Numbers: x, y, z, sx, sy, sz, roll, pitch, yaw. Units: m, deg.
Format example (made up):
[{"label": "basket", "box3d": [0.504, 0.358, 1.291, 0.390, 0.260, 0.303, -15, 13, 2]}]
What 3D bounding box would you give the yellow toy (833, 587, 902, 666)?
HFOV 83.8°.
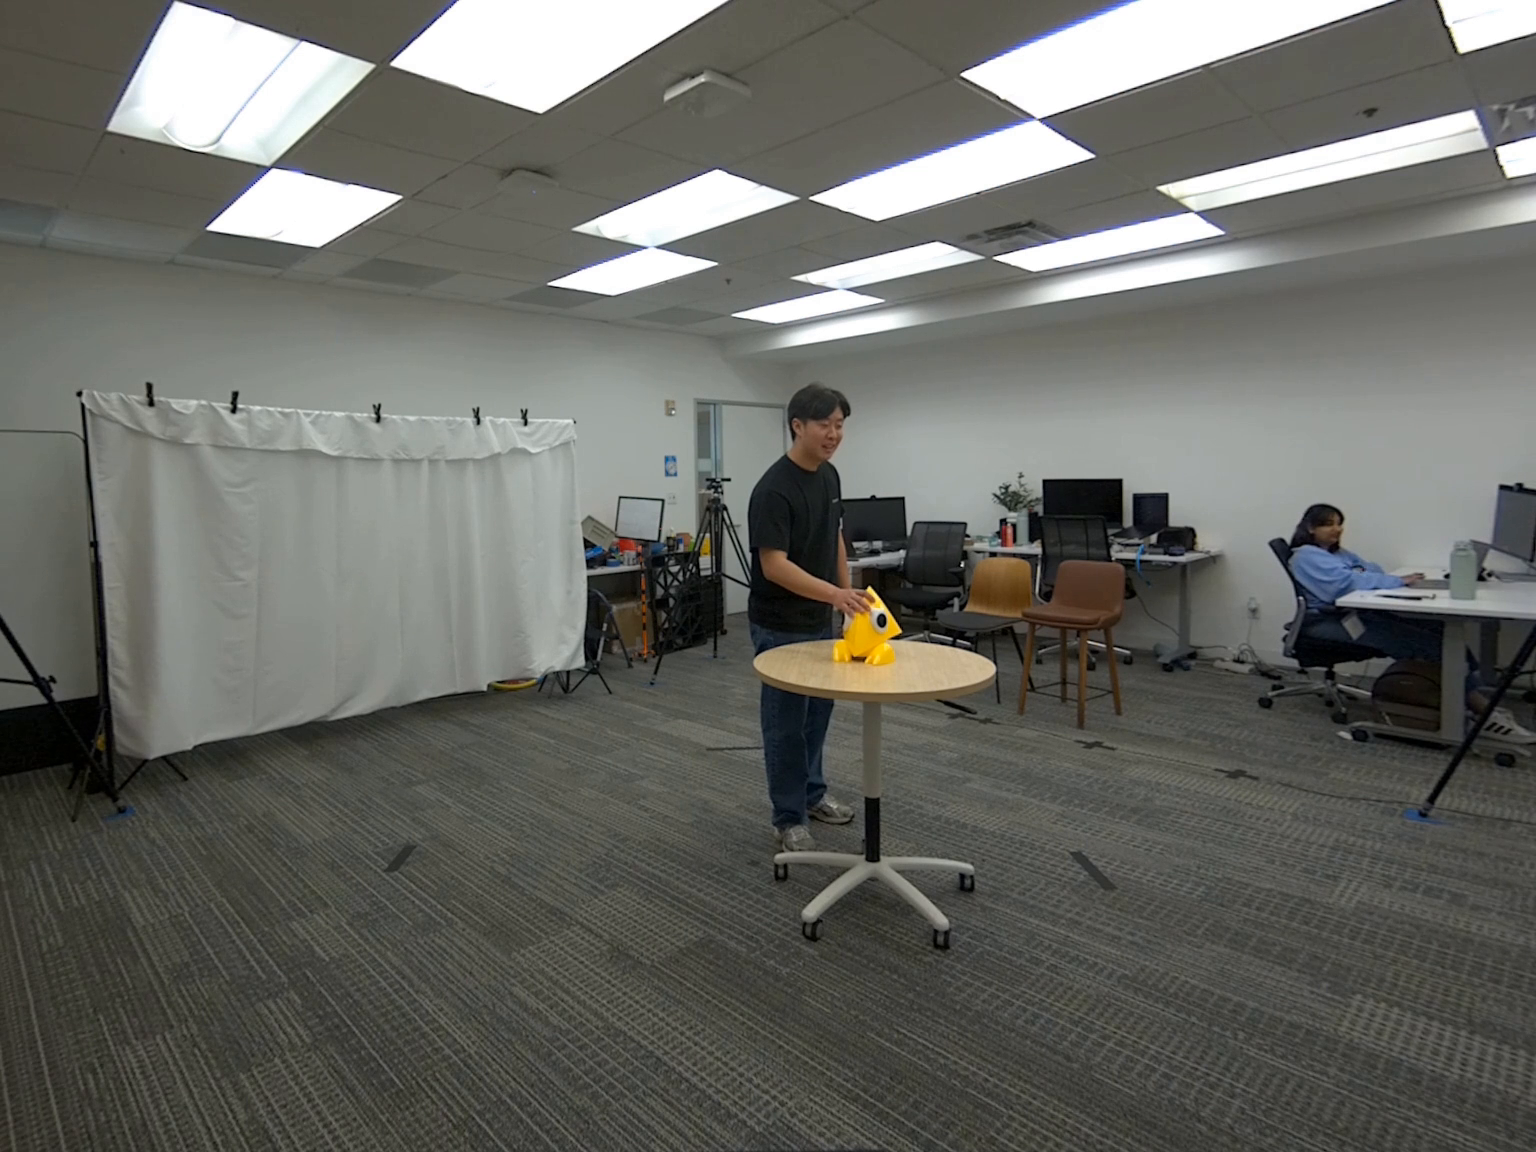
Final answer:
[{"label": "yellow toy", "box3d": [0.316, 0.161, 2.813, 0.210, 0.230, 0.189, 2, 5, 26]}]
